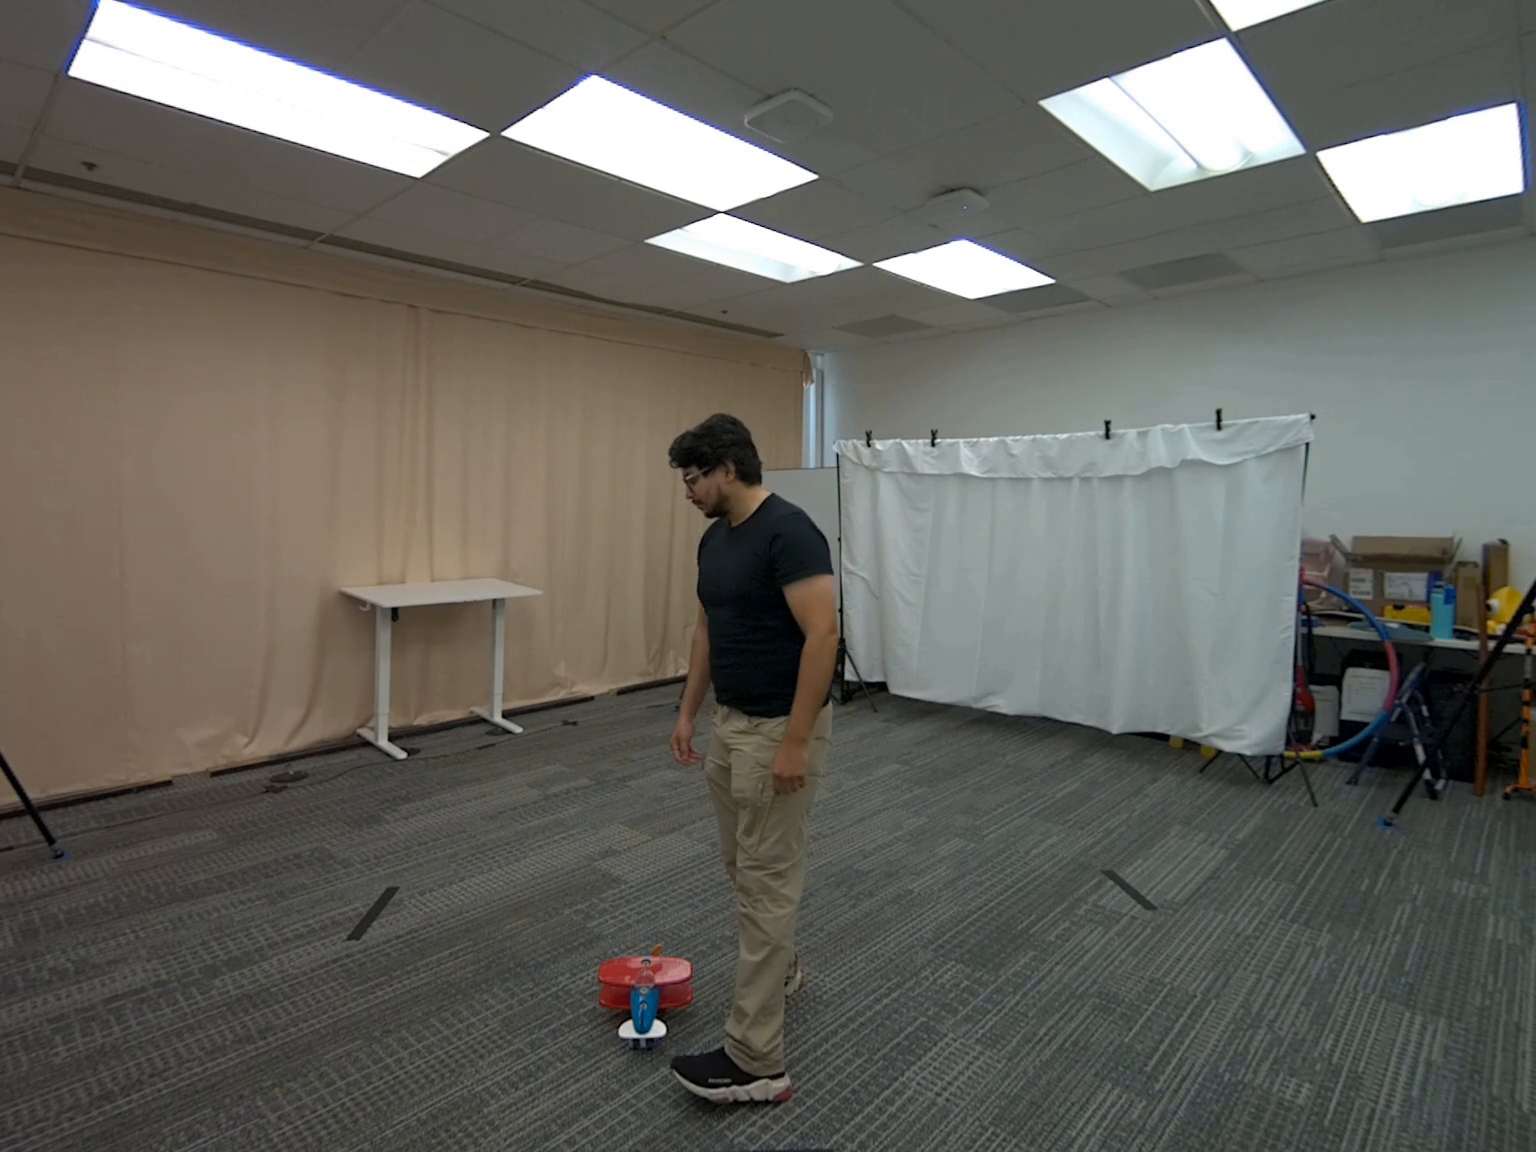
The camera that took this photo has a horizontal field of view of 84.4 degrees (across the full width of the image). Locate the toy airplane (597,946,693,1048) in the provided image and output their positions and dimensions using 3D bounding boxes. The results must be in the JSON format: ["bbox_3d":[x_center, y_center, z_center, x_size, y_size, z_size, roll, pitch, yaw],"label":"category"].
[{"bbox_3d":[-0.312,1.137,2.248,0.244,0.156,0.267,-3,4,-31],"label":"toy airplane"}]
